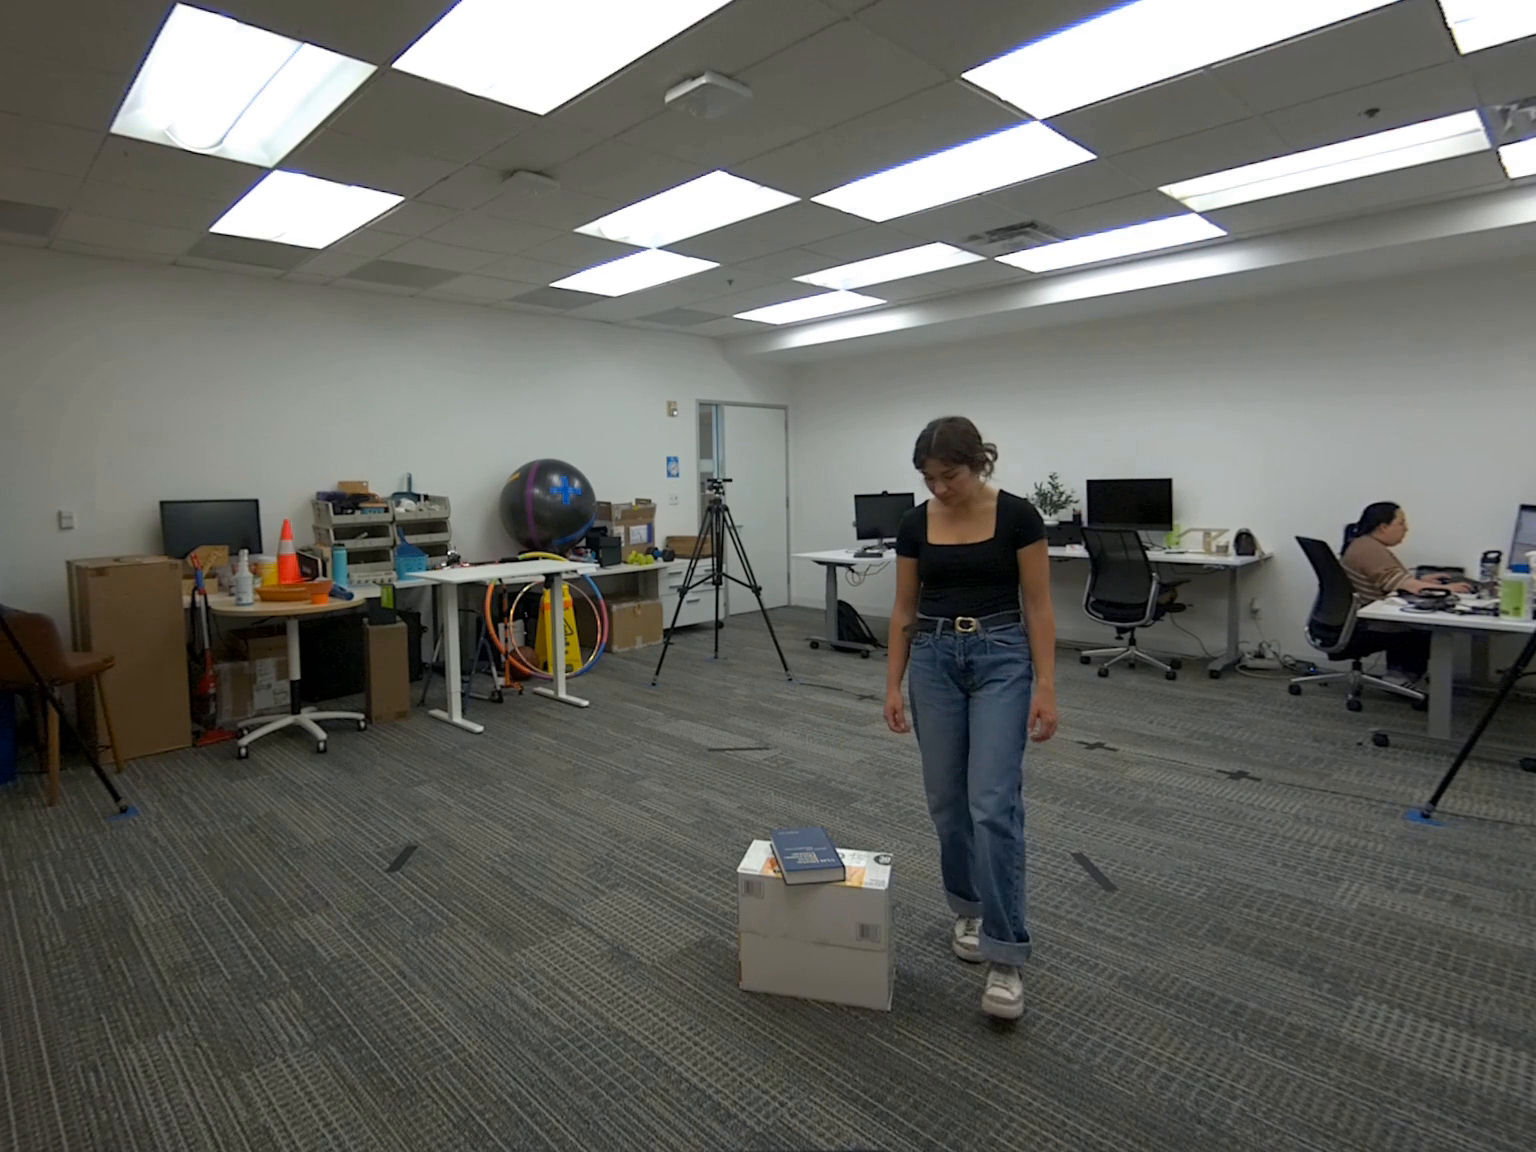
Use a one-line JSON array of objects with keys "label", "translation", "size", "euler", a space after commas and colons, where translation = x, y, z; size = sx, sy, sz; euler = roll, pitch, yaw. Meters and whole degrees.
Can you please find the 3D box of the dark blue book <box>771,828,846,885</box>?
[{"label": "dark blue book", "translation": [0.109, 0.765, 2.350], "size": [0.162, 0.045, 0.248], "euler": [-3, 7, -9]}]
